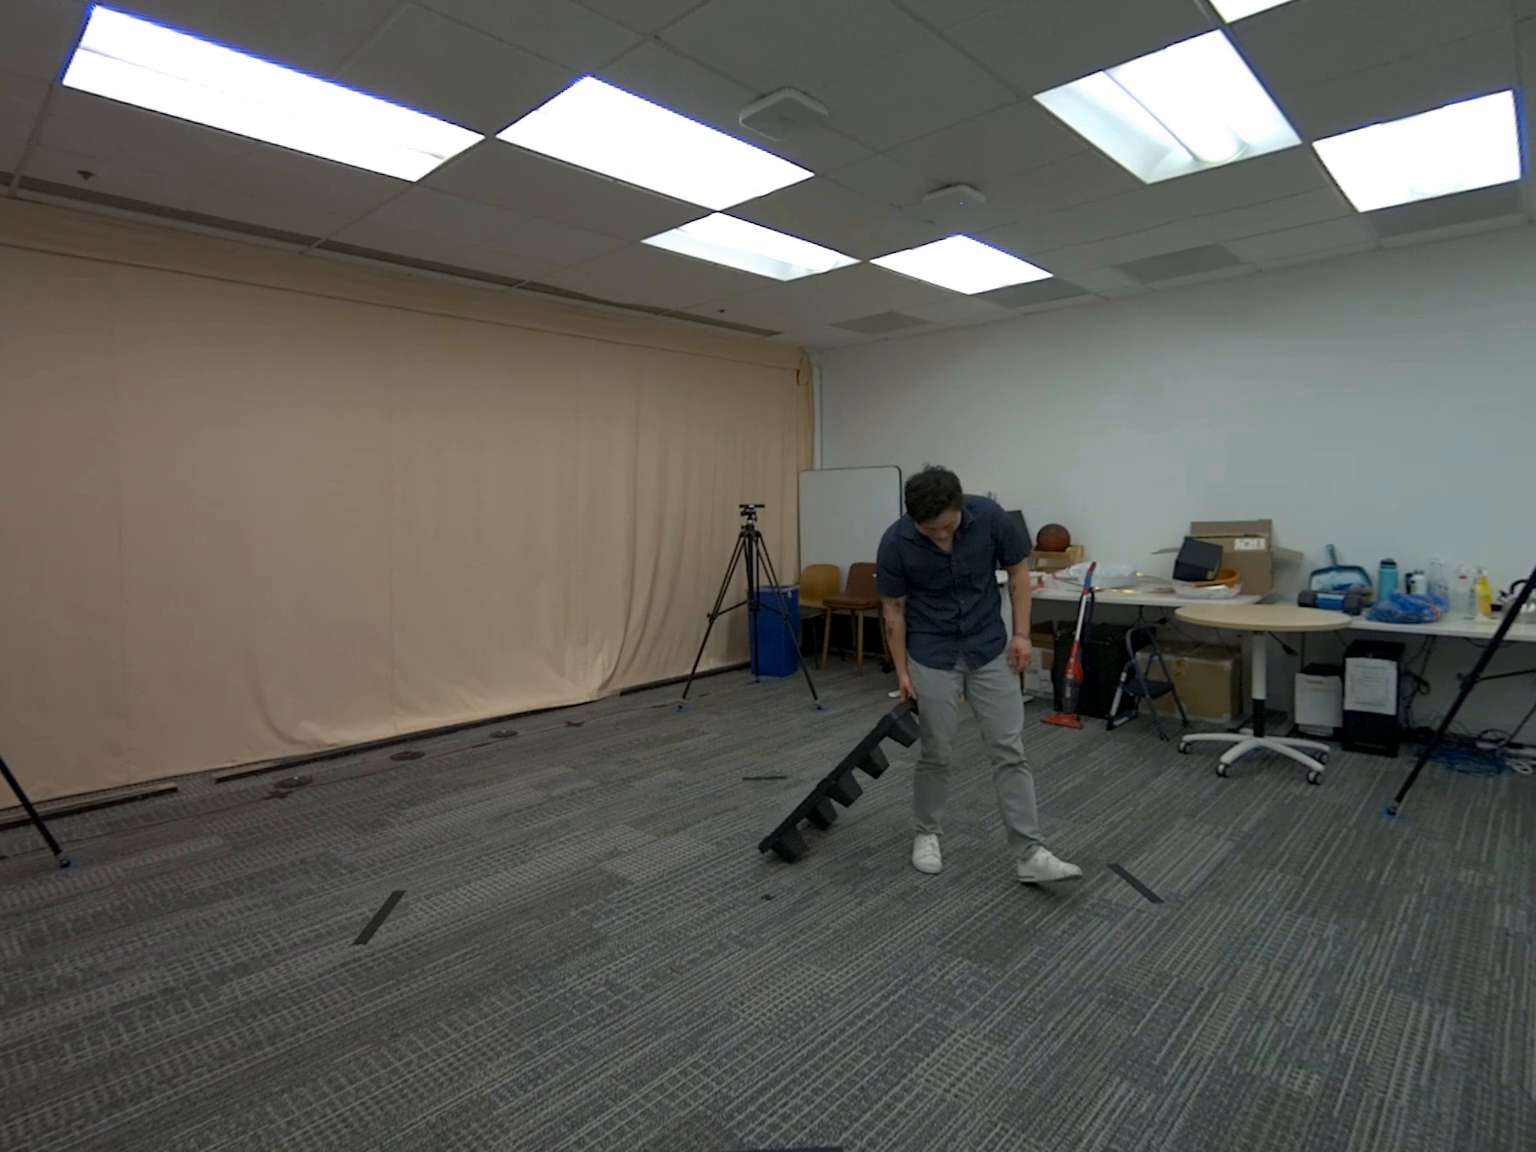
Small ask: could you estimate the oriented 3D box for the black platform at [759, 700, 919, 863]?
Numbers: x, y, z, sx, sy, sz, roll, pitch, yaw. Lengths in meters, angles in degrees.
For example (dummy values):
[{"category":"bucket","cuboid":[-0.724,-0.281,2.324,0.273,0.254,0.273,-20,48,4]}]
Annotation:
[{"category":"black platform","cuboid":[0.363,0.785,3.359,0.146,0.808,0.591,45,20,15]}]
